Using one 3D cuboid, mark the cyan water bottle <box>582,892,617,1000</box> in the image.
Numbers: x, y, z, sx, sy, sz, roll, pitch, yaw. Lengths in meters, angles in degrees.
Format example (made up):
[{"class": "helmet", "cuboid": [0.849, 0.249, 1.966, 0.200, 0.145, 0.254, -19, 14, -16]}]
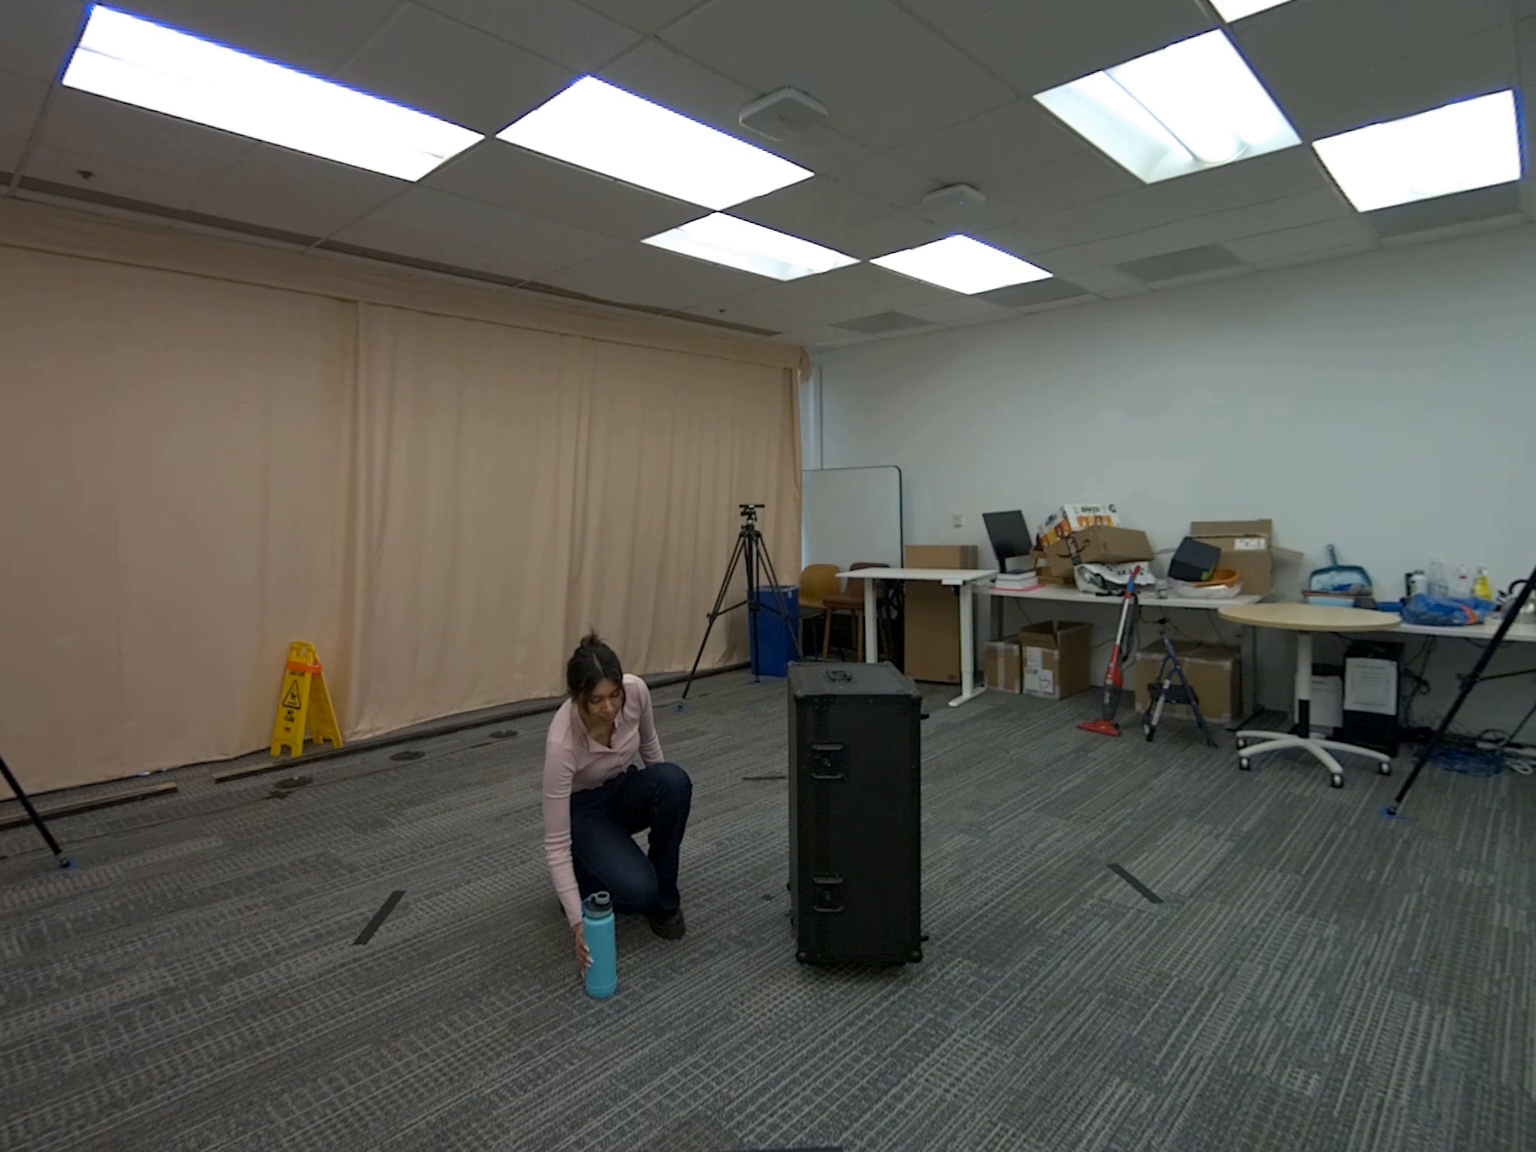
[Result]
[{"class": "cyan water bottle", "cuboid": [-0.481, 1.053, 2.432, 0.092, 0.282, 0.093, -3, 4, -2]}]
